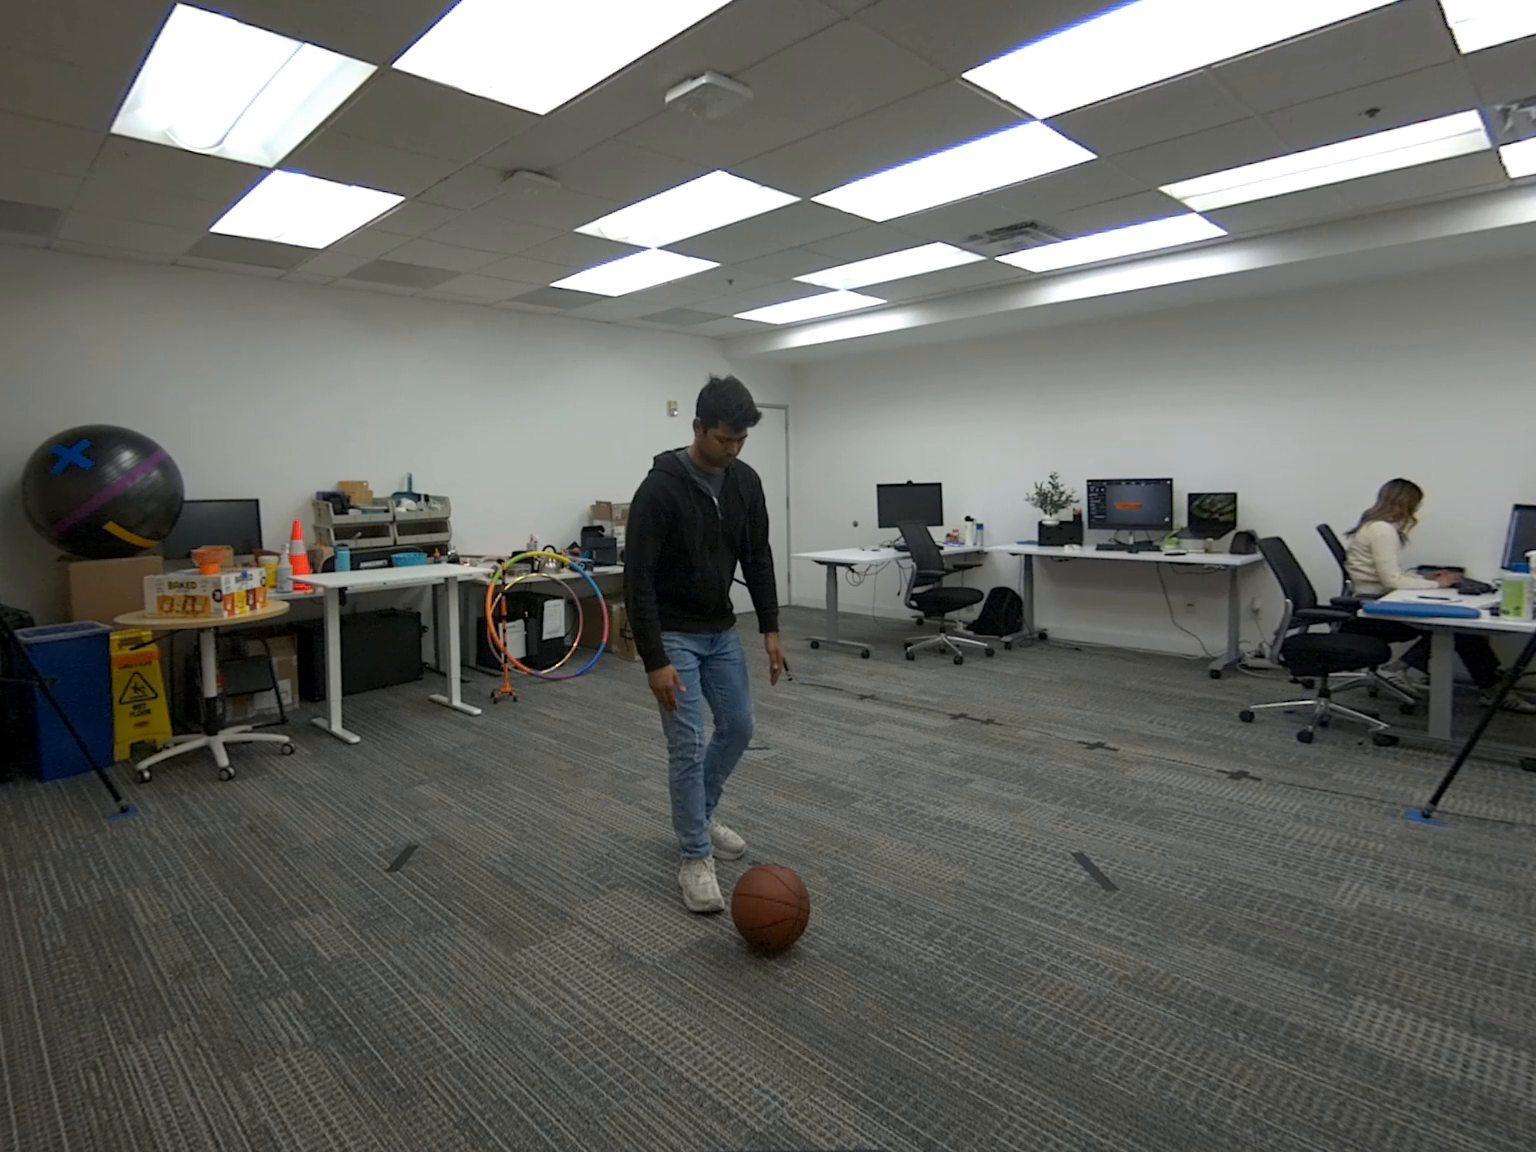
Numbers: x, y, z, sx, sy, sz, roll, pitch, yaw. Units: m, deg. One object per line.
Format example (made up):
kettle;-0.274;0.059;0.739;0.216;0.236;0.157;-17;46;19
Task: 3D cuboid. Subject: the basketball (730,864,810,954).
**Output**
basketball;0.013;0.985;2.557;0.236;0.235;0.237;-1;5;-2
